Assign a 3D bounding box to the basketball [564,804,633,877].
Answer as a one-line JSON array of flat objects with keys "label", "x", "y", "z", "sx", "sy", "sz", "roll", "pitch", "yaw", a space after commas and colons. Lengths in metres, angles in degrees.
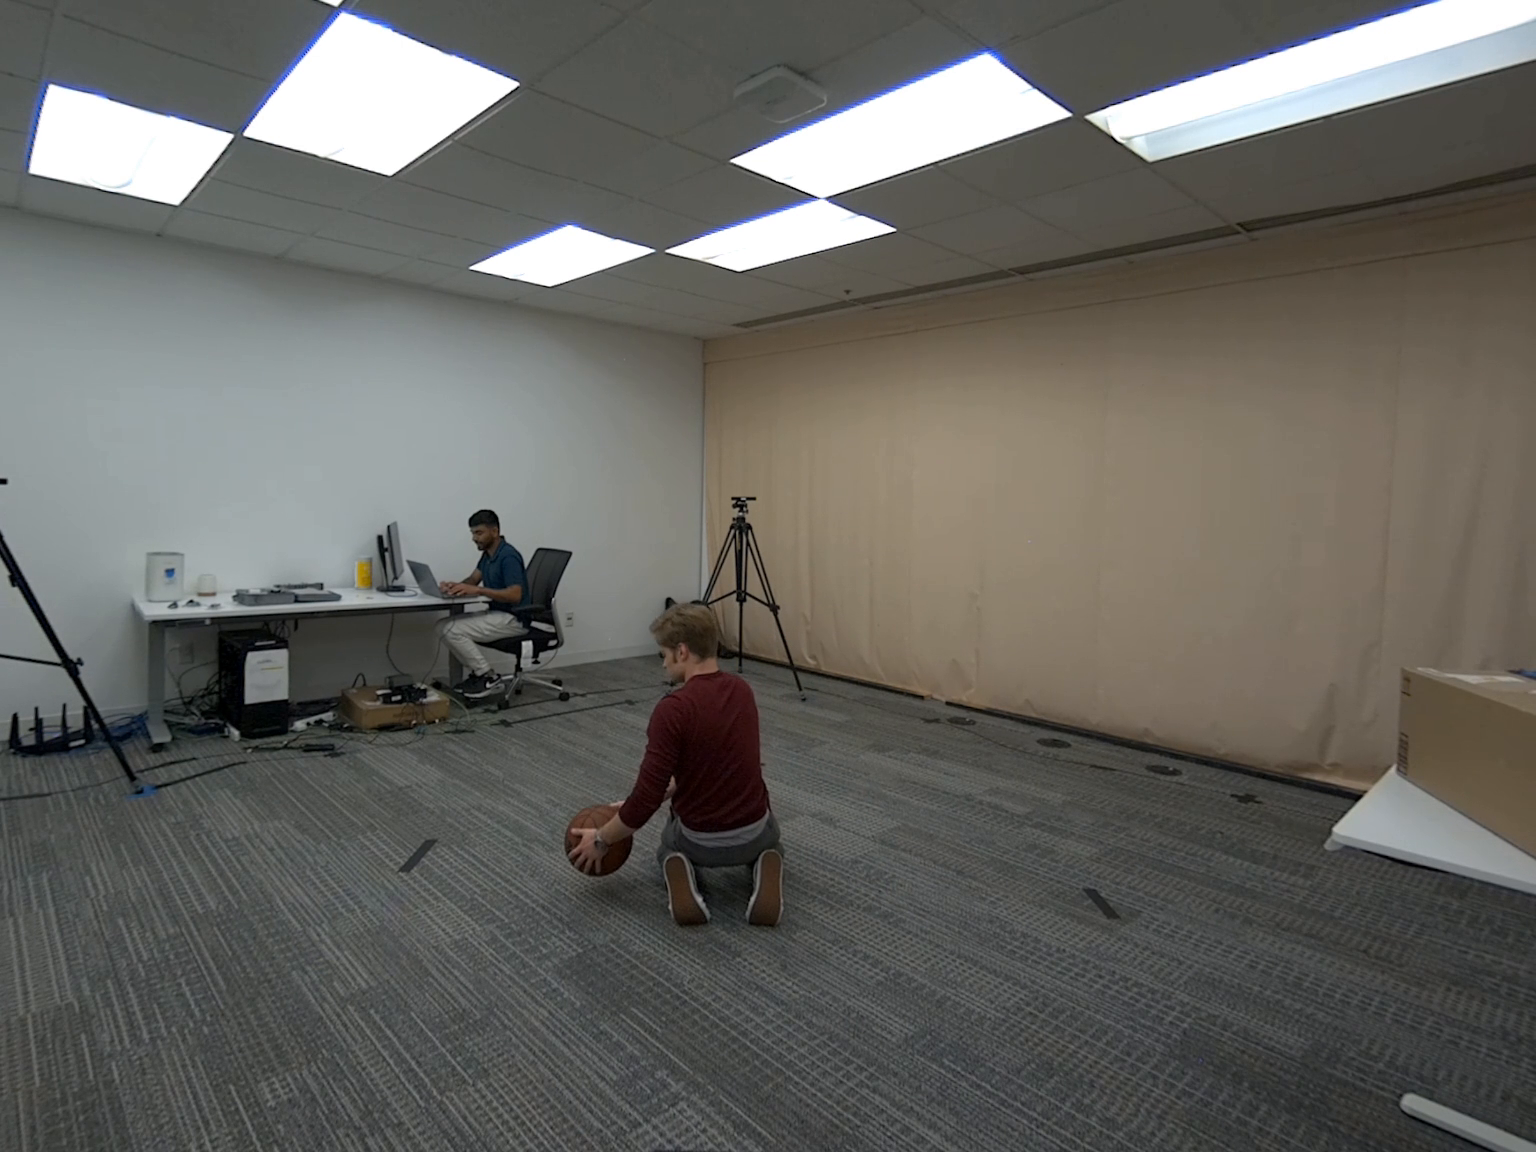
[{"label": "basketball", "x": -0.593, "y": 0.915, "z": 2.948, "sx": 0.236, "sy": 0.235, "sz": 0.237, "roll": 1, "pitch": 4, "yaw": -1}]
